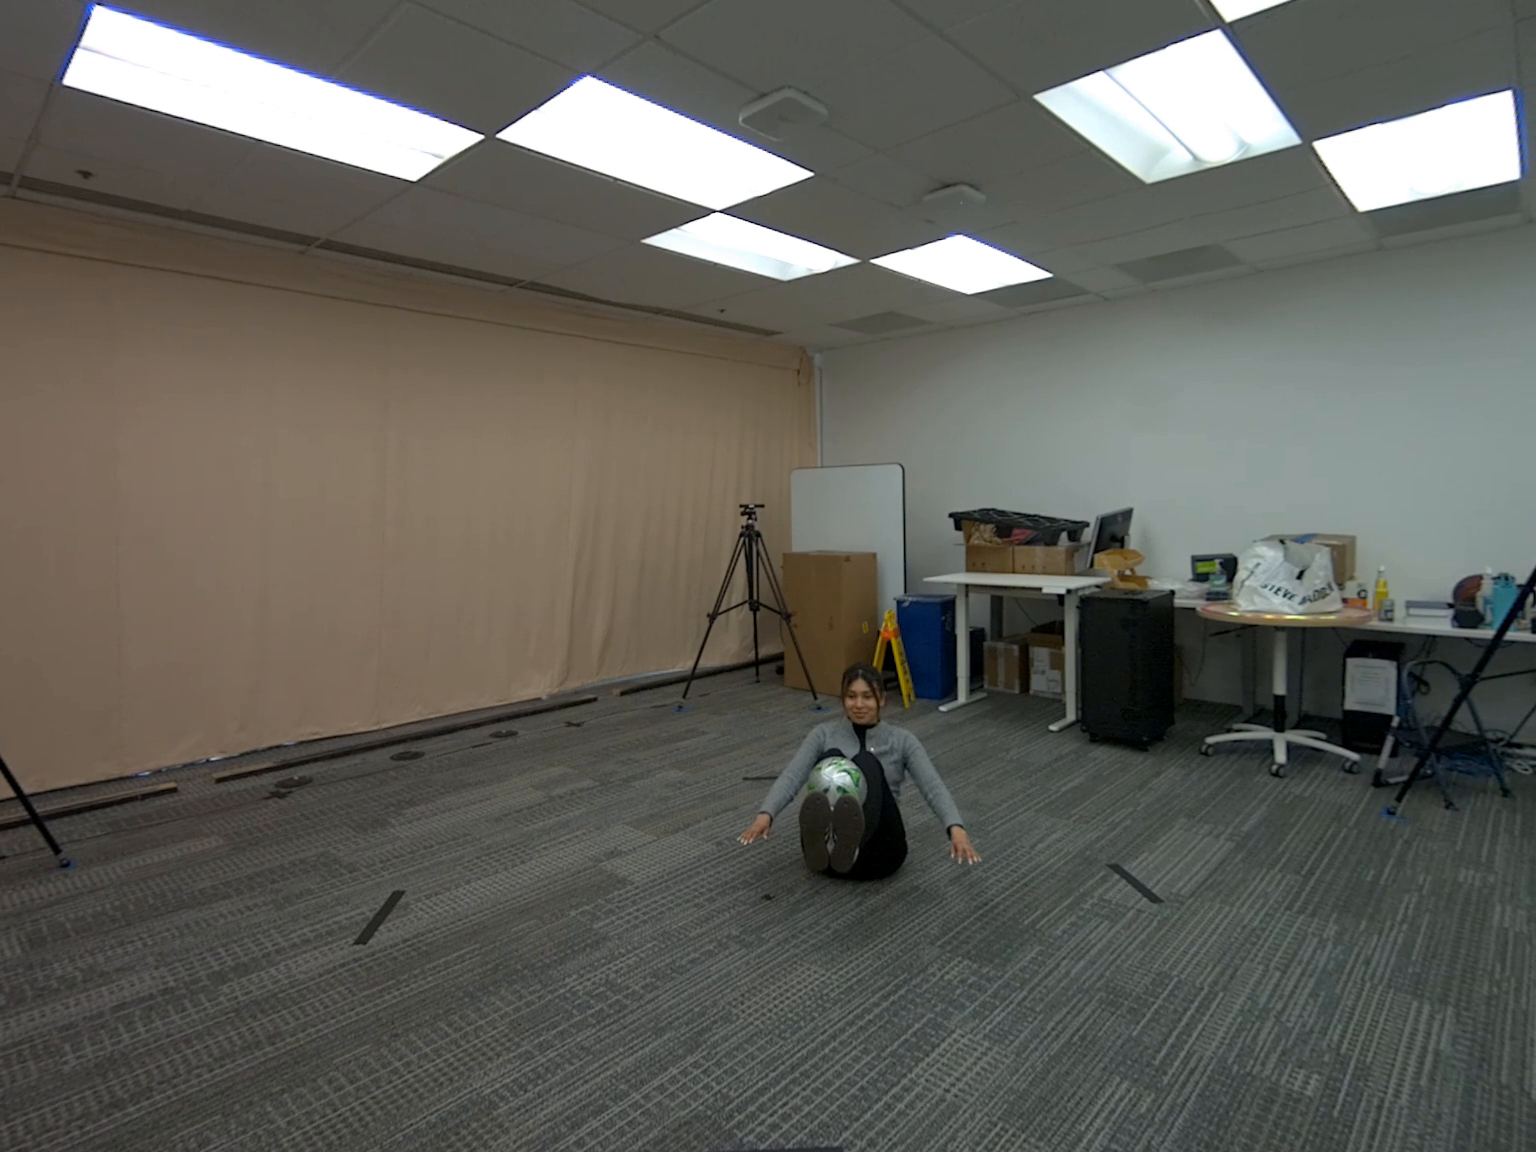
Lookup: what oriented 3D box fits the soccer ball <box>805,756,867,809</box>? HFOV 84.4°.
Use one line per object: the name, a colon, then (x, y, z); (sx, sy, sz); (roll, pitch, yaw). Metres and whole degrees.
soccer ball: (0.223, 0.668, 2.642); (0.187, 0.187, 0.188); (-1, 4, -2)
